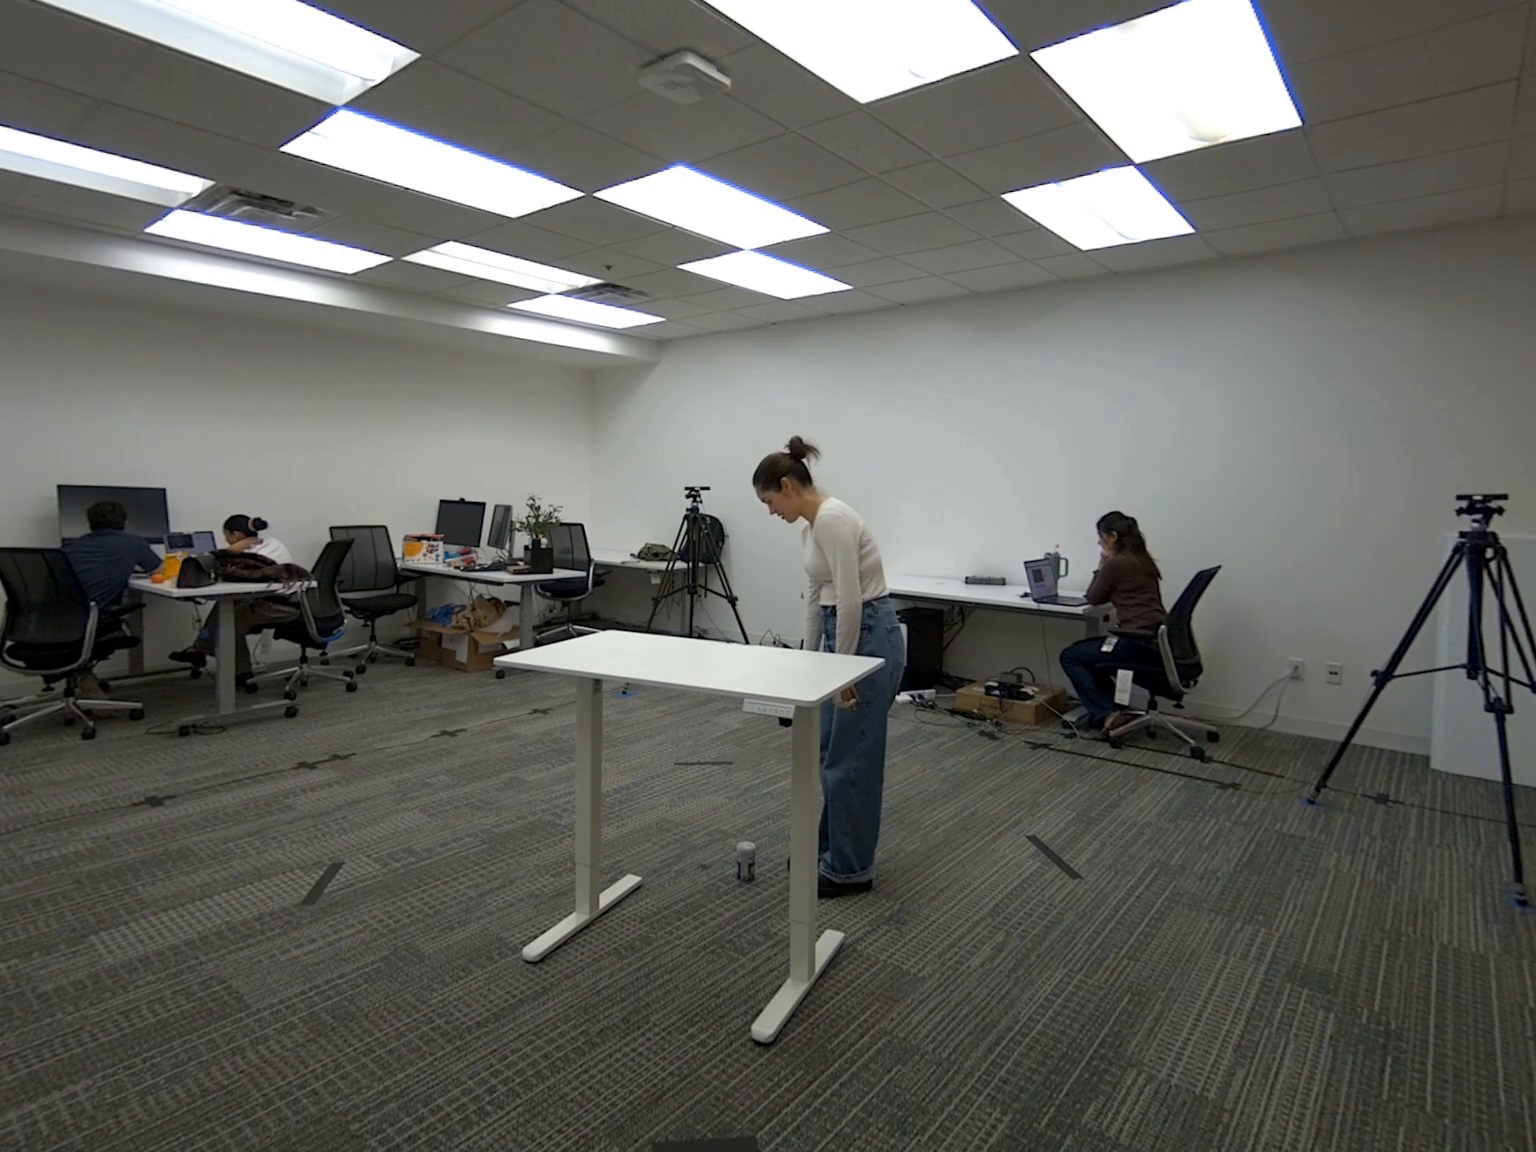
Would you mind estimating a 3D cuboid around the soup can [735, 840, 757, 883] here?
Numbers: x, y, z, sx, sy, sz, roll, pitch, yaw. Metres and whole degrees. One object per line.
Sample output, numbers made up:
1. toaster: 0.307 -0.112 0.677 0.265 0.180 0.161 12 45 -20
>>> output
1. soup can: -0.089 1.025 3.036 0.067 0.121 0.067 0 2 -2
